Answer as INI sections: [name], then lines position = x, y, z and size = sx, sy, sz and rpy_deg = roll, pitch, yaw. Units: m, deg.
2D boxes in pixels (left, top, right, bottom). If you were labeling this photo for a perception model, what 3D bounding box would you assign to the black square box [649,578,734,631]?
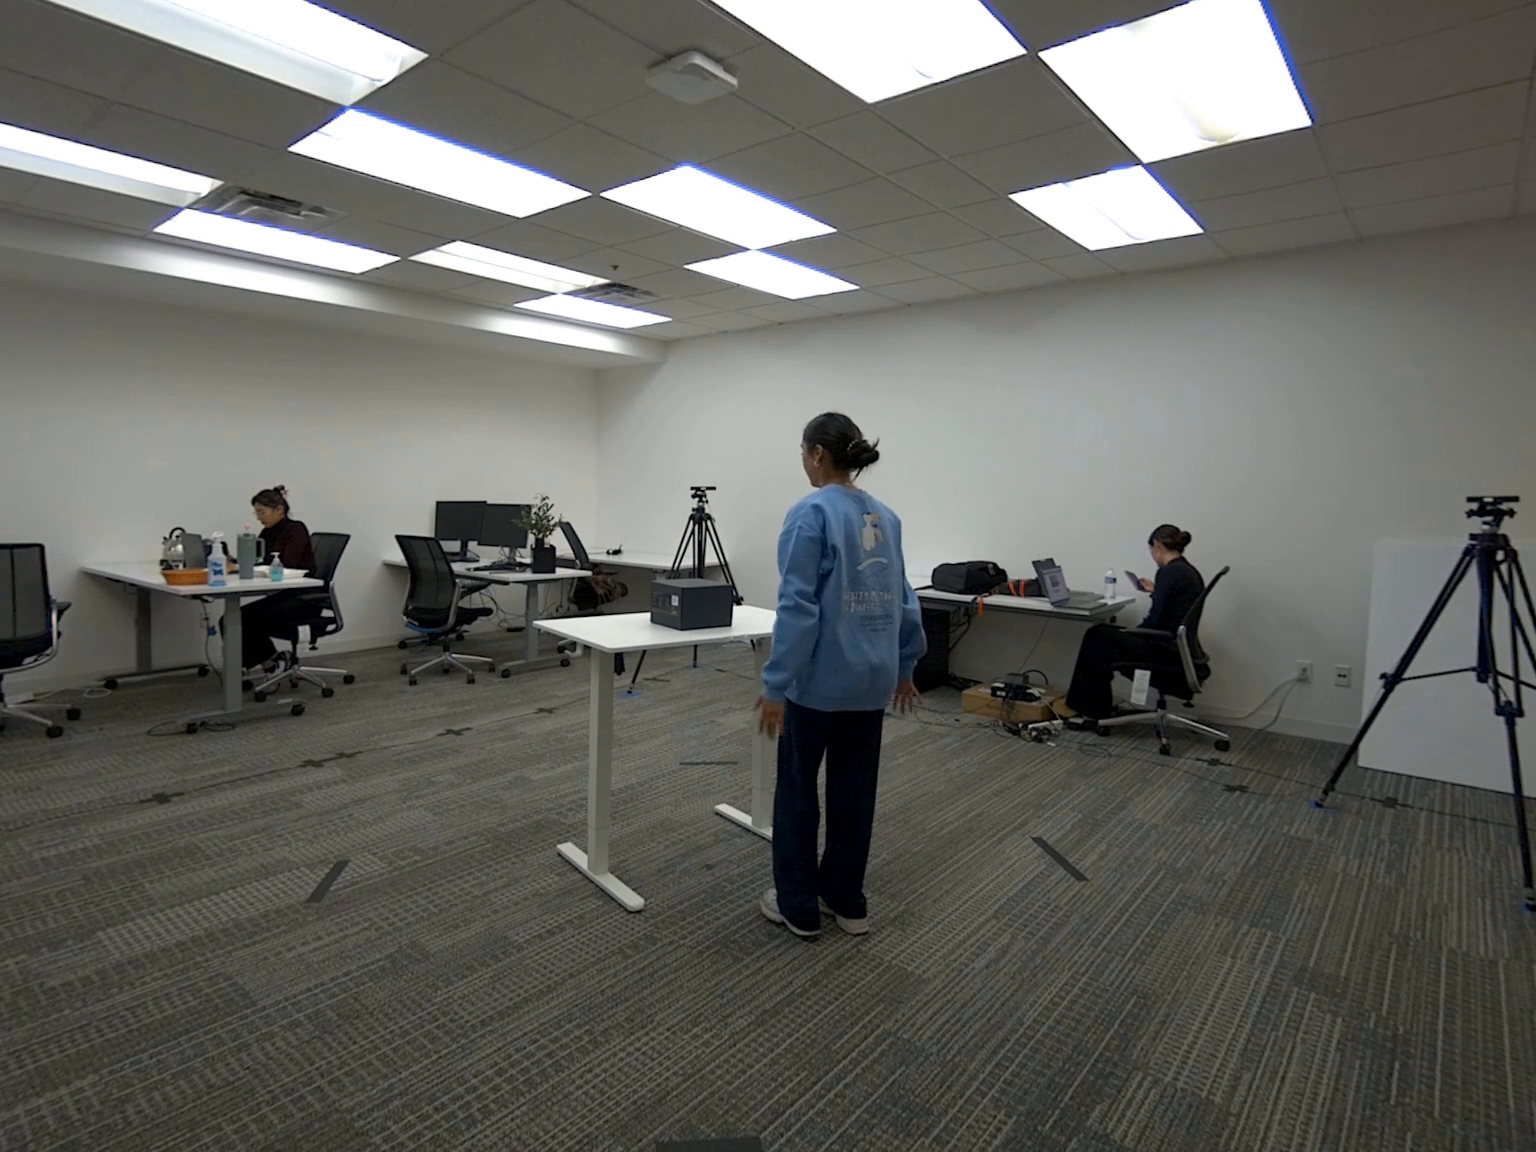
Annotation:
[black square box]
position = -0.289, 0.101, 3.135
size = 0.221, 0.155, 0.224
rpy_deg = -2, 6, -37
